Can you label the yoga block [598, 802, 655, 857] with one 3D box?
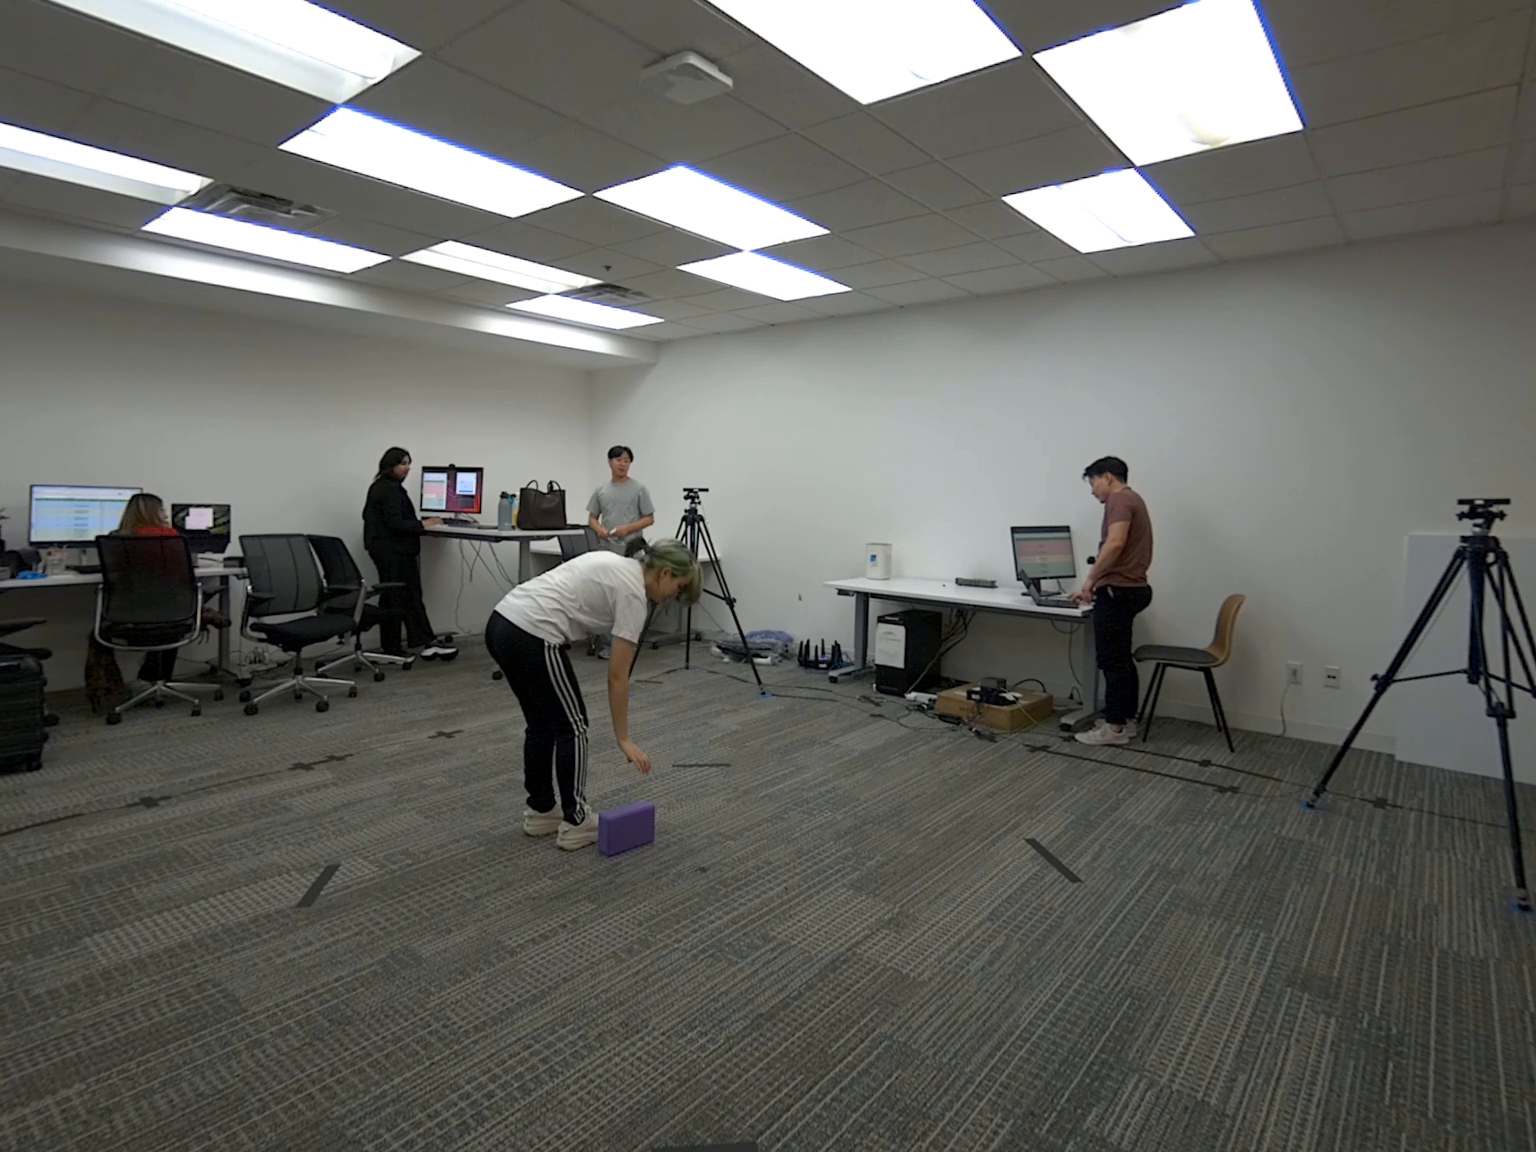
[{"bbox_3d":[-0.558,0.969,3.290,0.222,0.148,0.079,-3,6,-43],"label":"yoga block"}]
